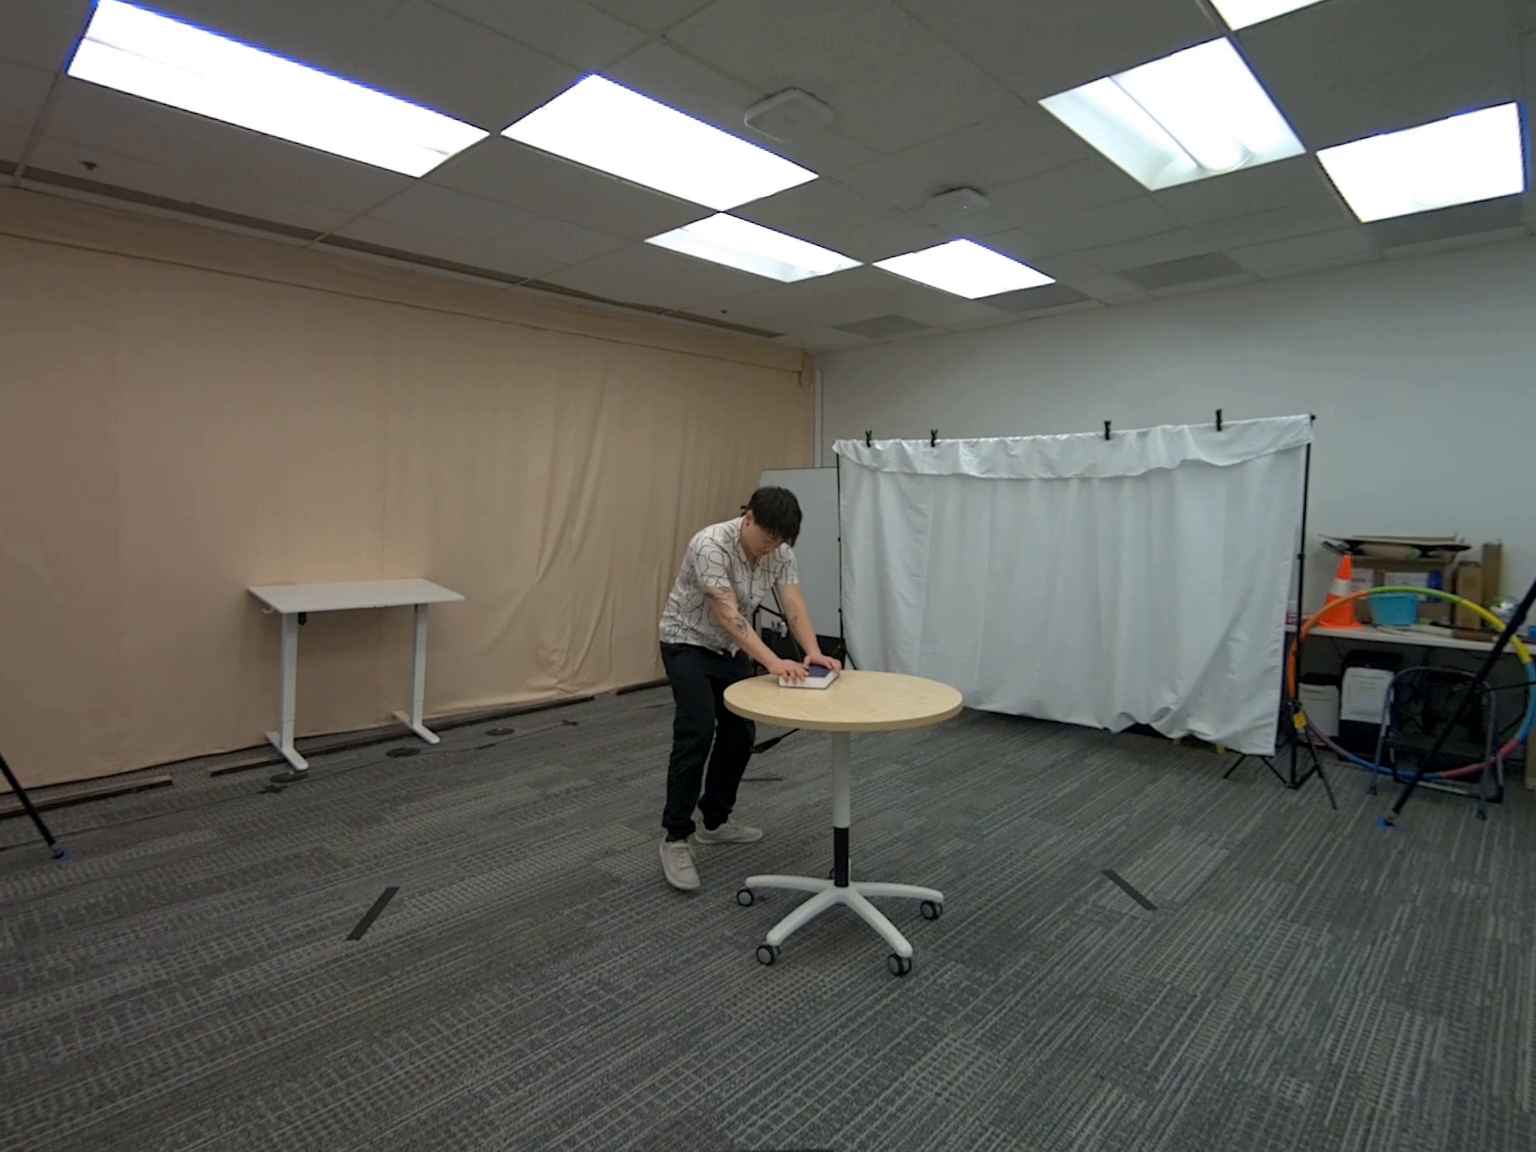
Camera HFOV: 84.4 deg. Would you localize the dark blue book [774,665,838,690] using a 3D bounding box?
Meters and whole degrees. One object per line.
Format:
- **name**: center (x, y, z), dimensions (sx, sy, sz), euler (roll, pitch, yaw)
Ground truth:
- **dark blue book**: center (0.156, 0.352, 2.932), dimensions (0.166, 0.045, 0.241), euler (0, 5, 16)
